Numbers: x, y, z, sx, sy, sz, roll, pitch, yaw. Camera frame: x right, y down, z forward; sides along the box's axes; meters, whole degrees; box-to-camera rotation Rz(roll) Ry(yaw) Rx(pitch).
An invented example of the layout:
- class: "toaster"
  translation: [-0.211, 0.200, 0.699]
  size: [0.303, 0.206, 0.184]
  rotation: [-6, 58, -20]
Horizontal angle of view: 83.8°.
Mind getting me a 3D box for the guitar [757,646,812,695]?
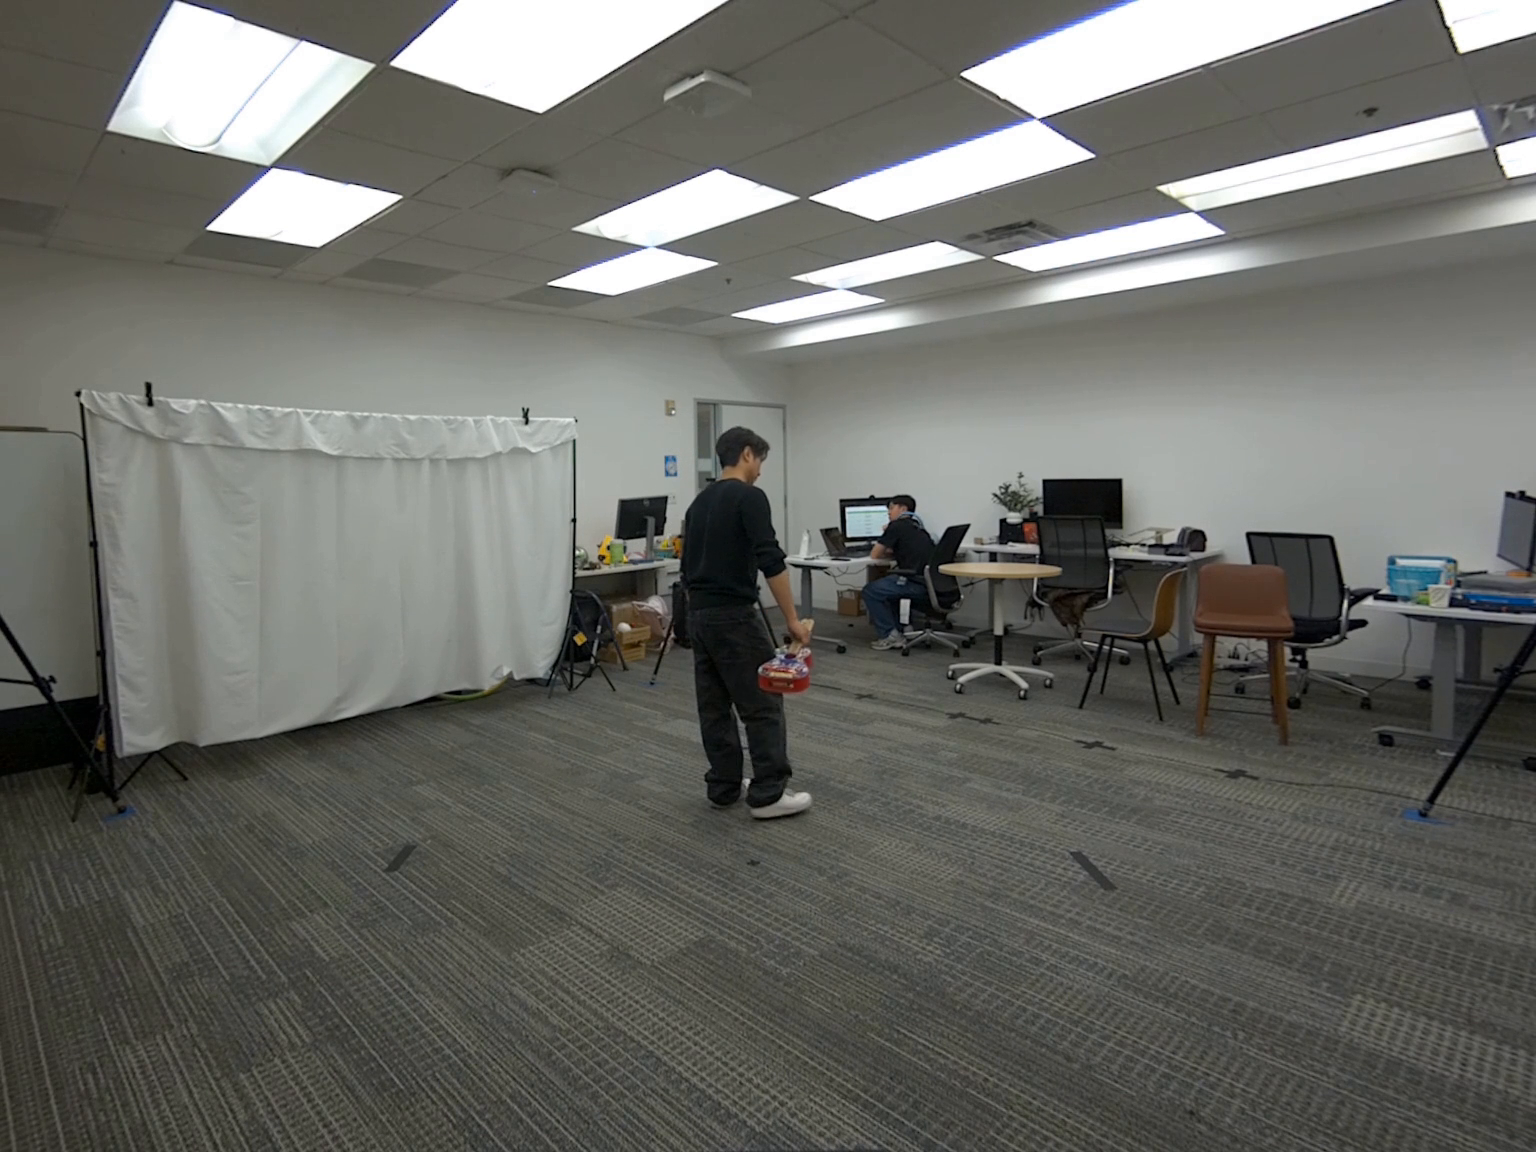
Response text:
- class: "guitar"
  translation: [0.136, 0.314, 3.382]
  size: [0.198, 0.069, 0.495]
  rotation: [5, 24, 26]
